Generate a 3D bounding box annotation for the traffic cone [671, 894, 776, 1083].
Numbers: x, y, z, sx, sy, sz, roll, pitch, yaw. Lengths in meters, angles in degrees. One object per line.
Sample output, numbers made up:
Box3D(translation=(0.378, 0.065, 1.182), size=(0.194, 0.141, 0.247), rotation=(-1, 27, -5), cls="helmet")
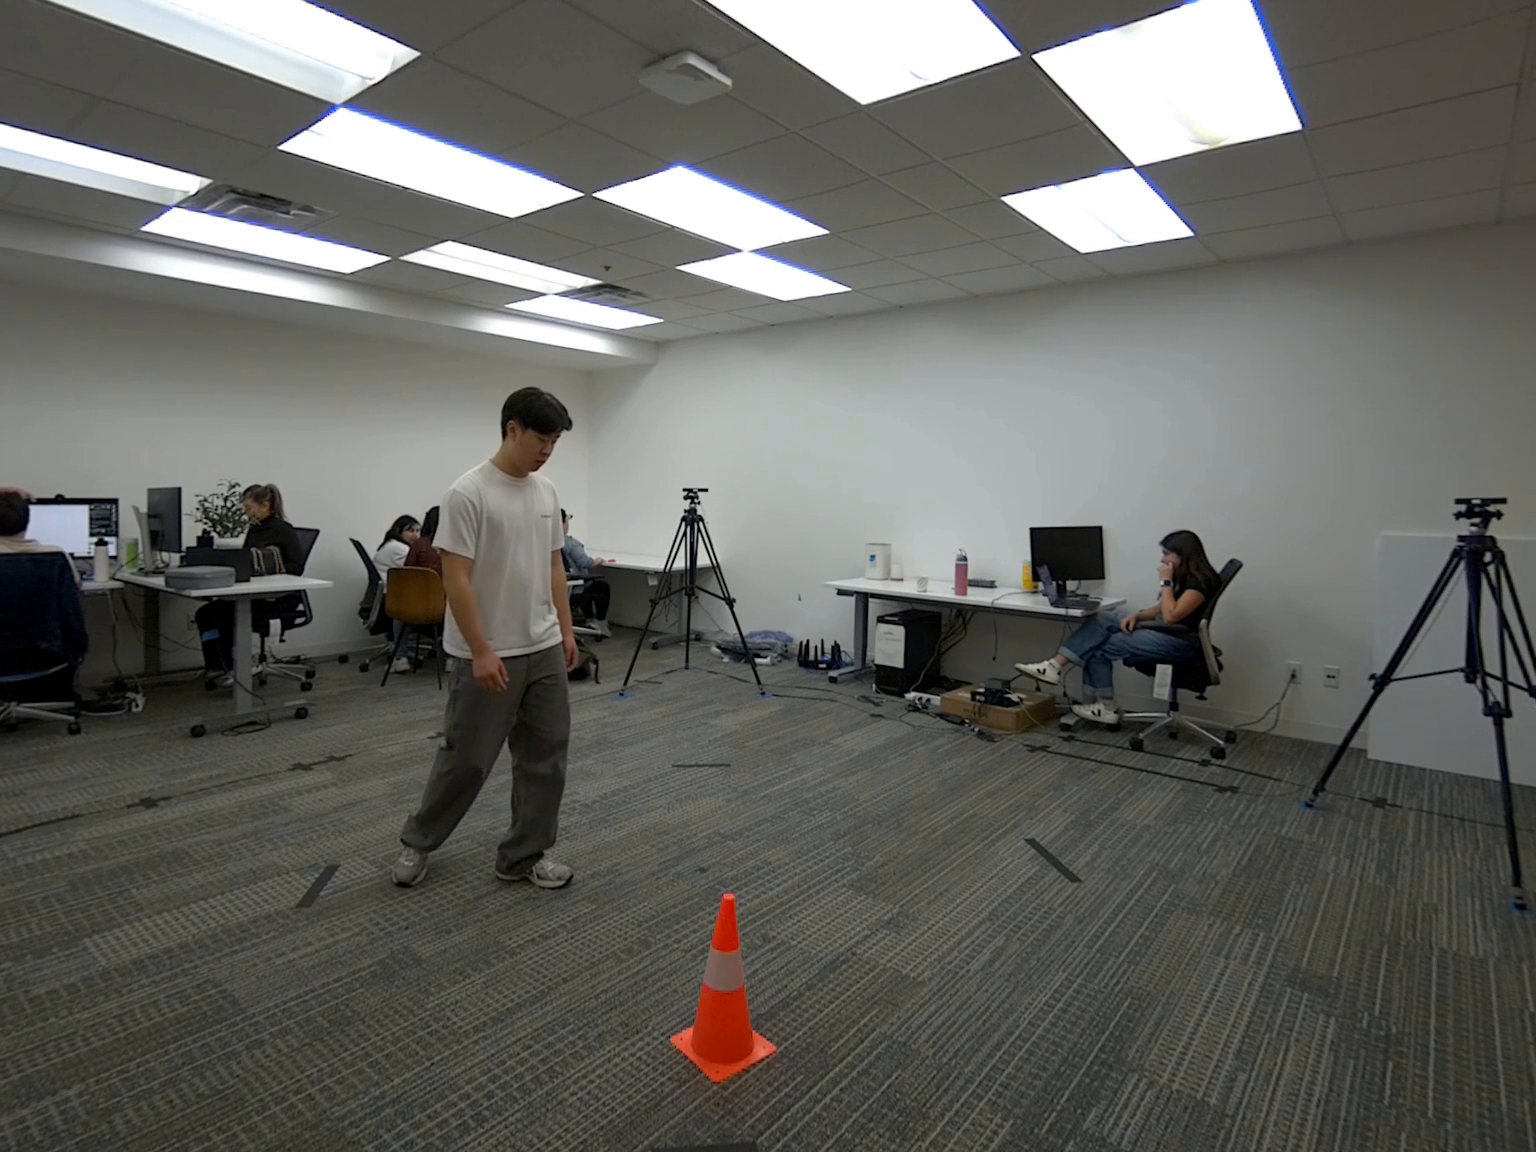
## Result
Box3D(translation=(-0.102, 0.984, 2.112), size=(0.197, 0.382, 0.212), rotation=(-2, 5, -43), cls="traffic cone")
